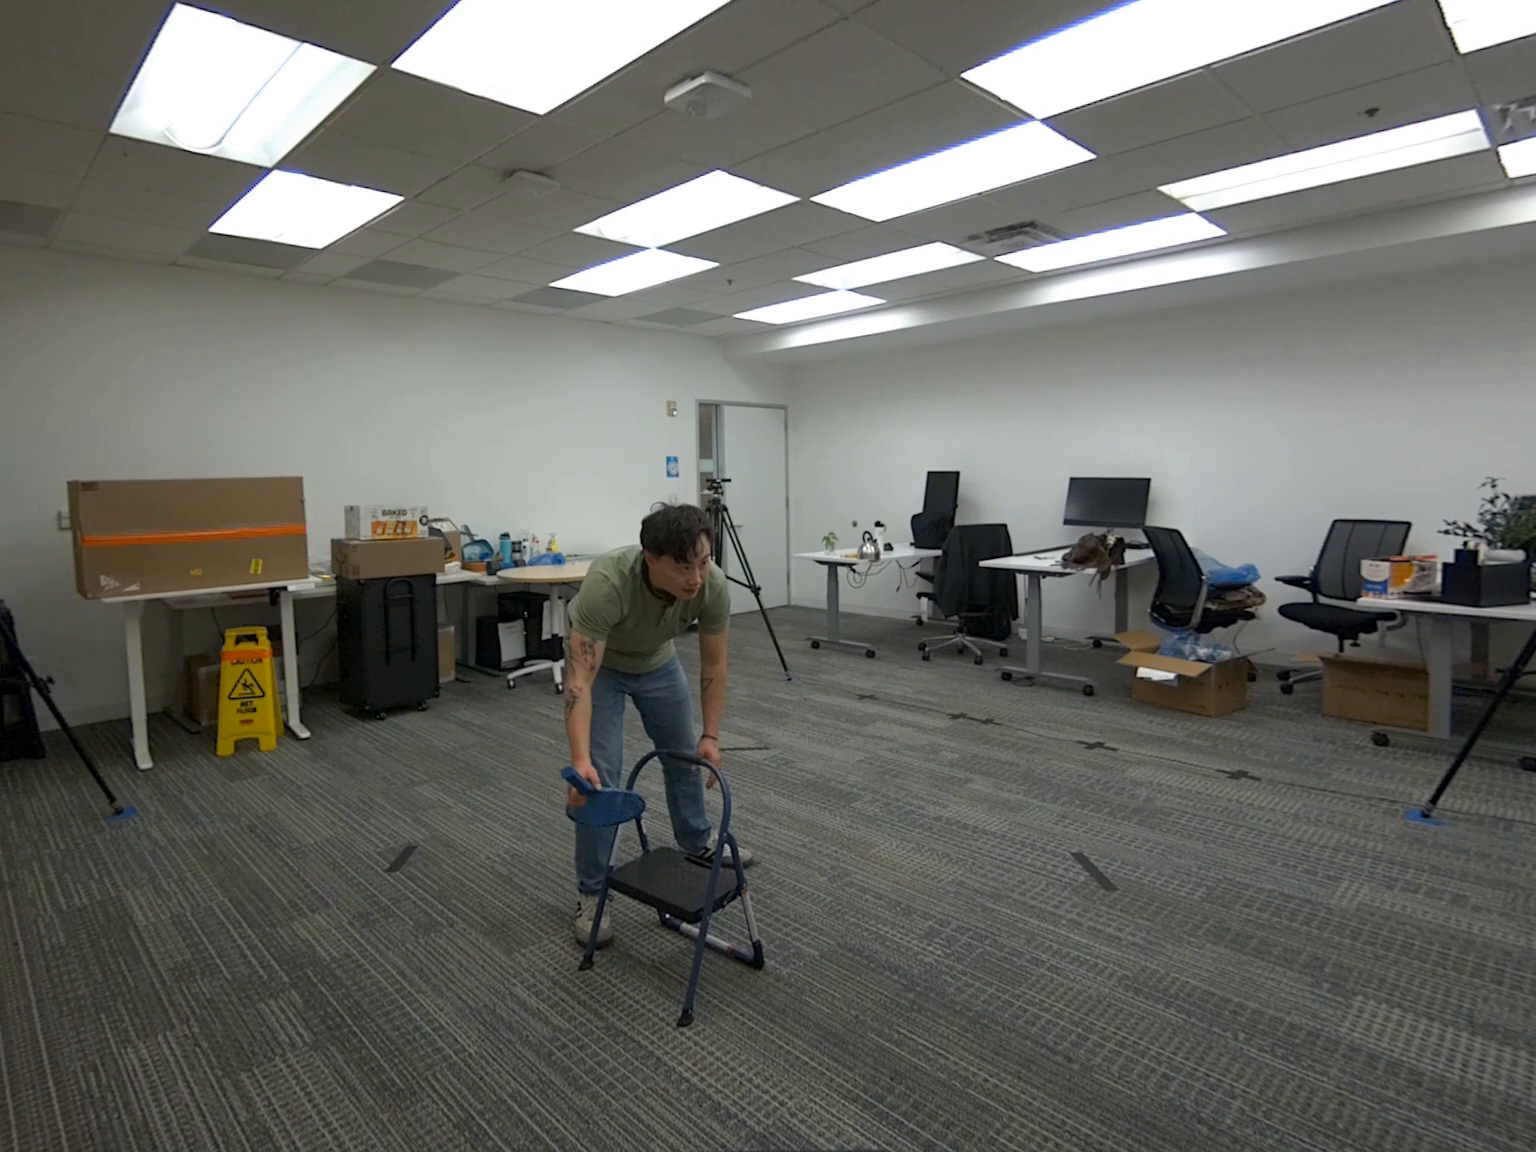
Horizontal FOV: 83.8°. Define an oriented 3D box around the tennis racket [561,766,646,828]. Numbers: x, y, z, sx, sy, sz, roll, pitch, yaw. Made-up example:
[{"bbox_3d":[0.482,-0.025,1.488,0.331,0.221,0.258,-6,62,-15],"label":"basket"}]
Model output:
[{"bbox_3d":[-0.452,0.601,2.279,0.215,0.033,0.417,-17,-37,9],"label":"tennis racket"}]
